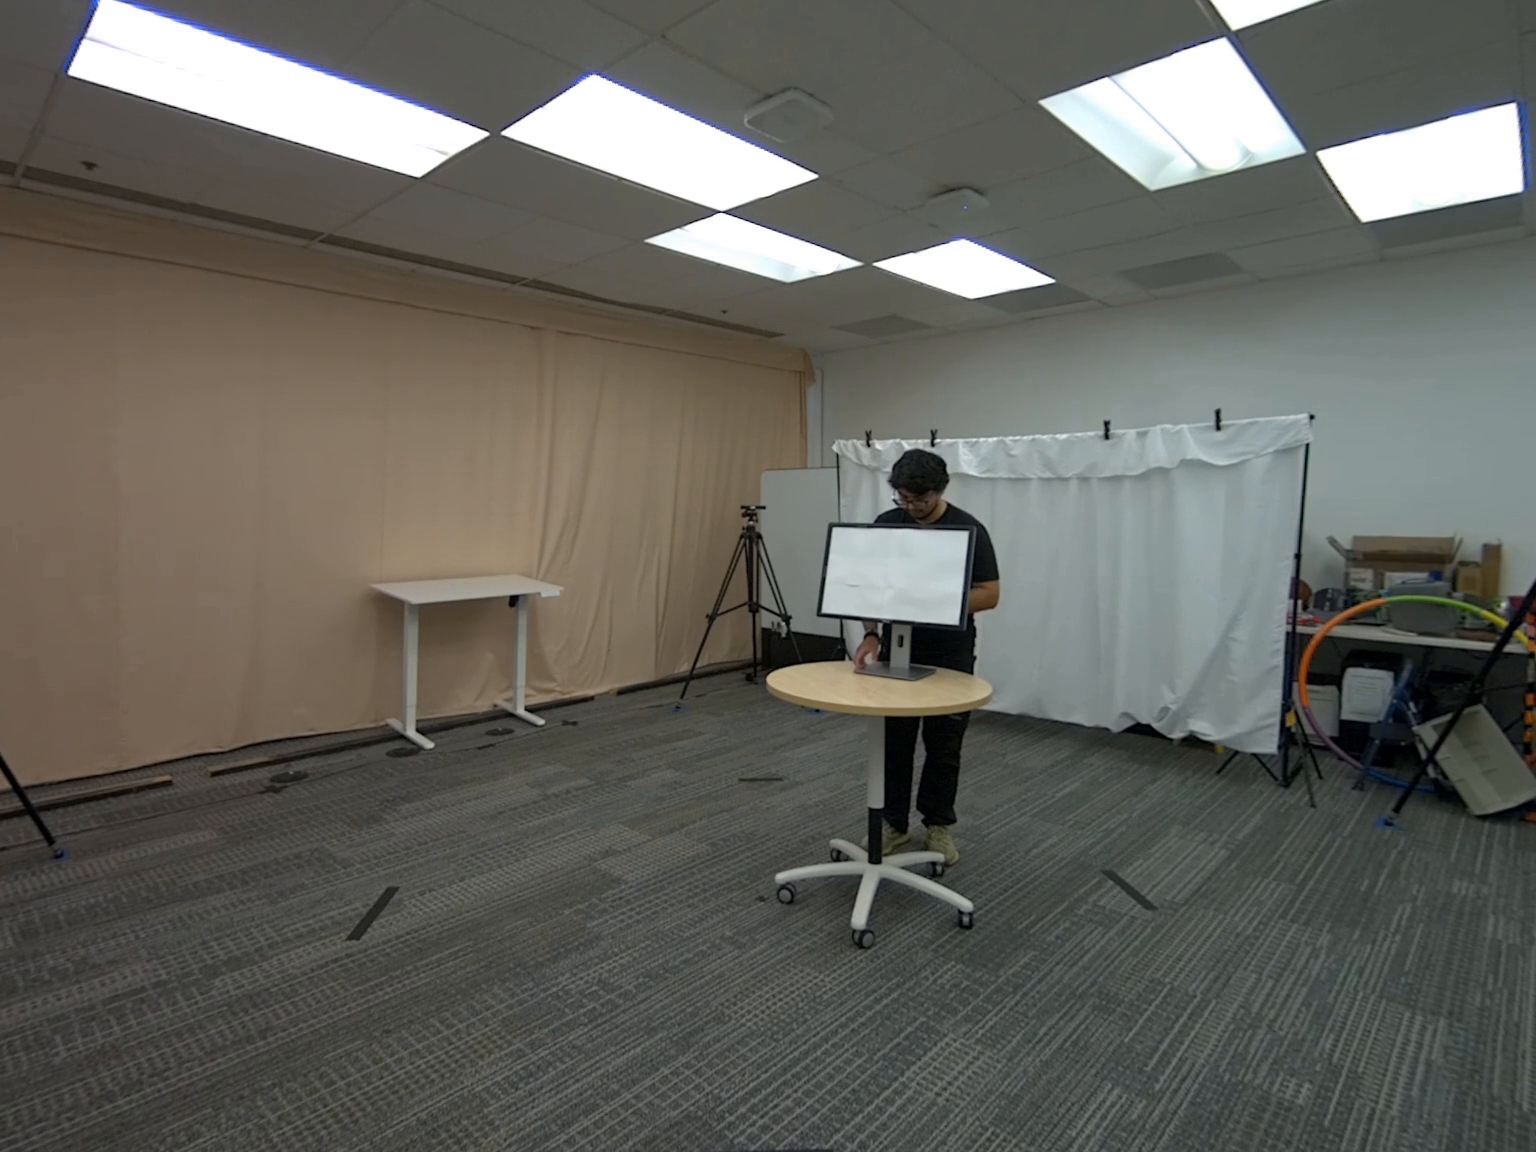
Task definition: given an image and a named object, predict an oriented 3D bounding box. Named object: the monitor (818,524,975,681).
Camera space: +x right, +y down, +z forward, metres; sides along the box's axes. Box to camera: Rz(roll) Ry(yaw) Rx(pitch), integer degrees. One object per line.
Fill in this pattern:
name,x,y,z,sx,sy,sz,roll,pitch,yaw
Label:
monitor,0.483,0.087,3.085,0.582,0.555,0.203,3,-4,32
